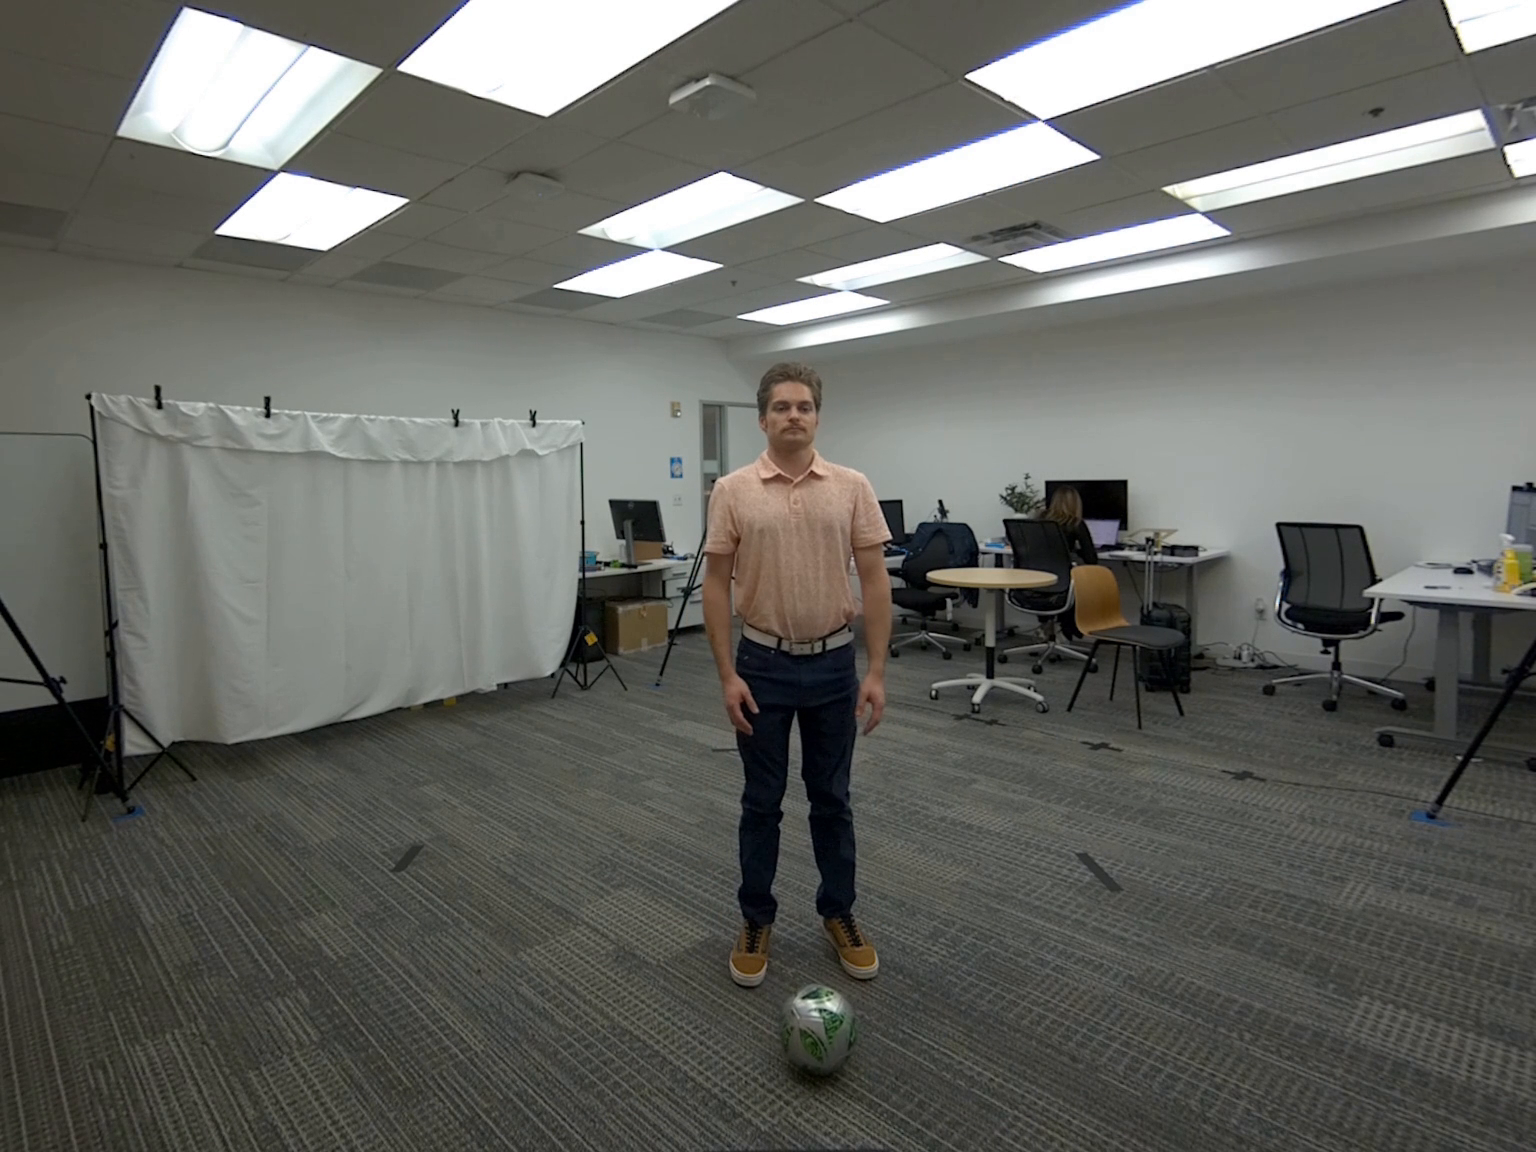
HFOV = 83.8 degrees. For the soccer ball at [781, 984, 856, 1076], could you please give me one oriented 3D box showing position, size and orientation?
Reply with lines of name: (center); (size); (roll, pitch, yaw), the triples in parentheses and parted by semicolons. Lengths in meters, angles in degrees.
soccer ball: (0.128, 1.081, 2.020); (0.187, 0.187, 0.188); (-1, 5, -2)
